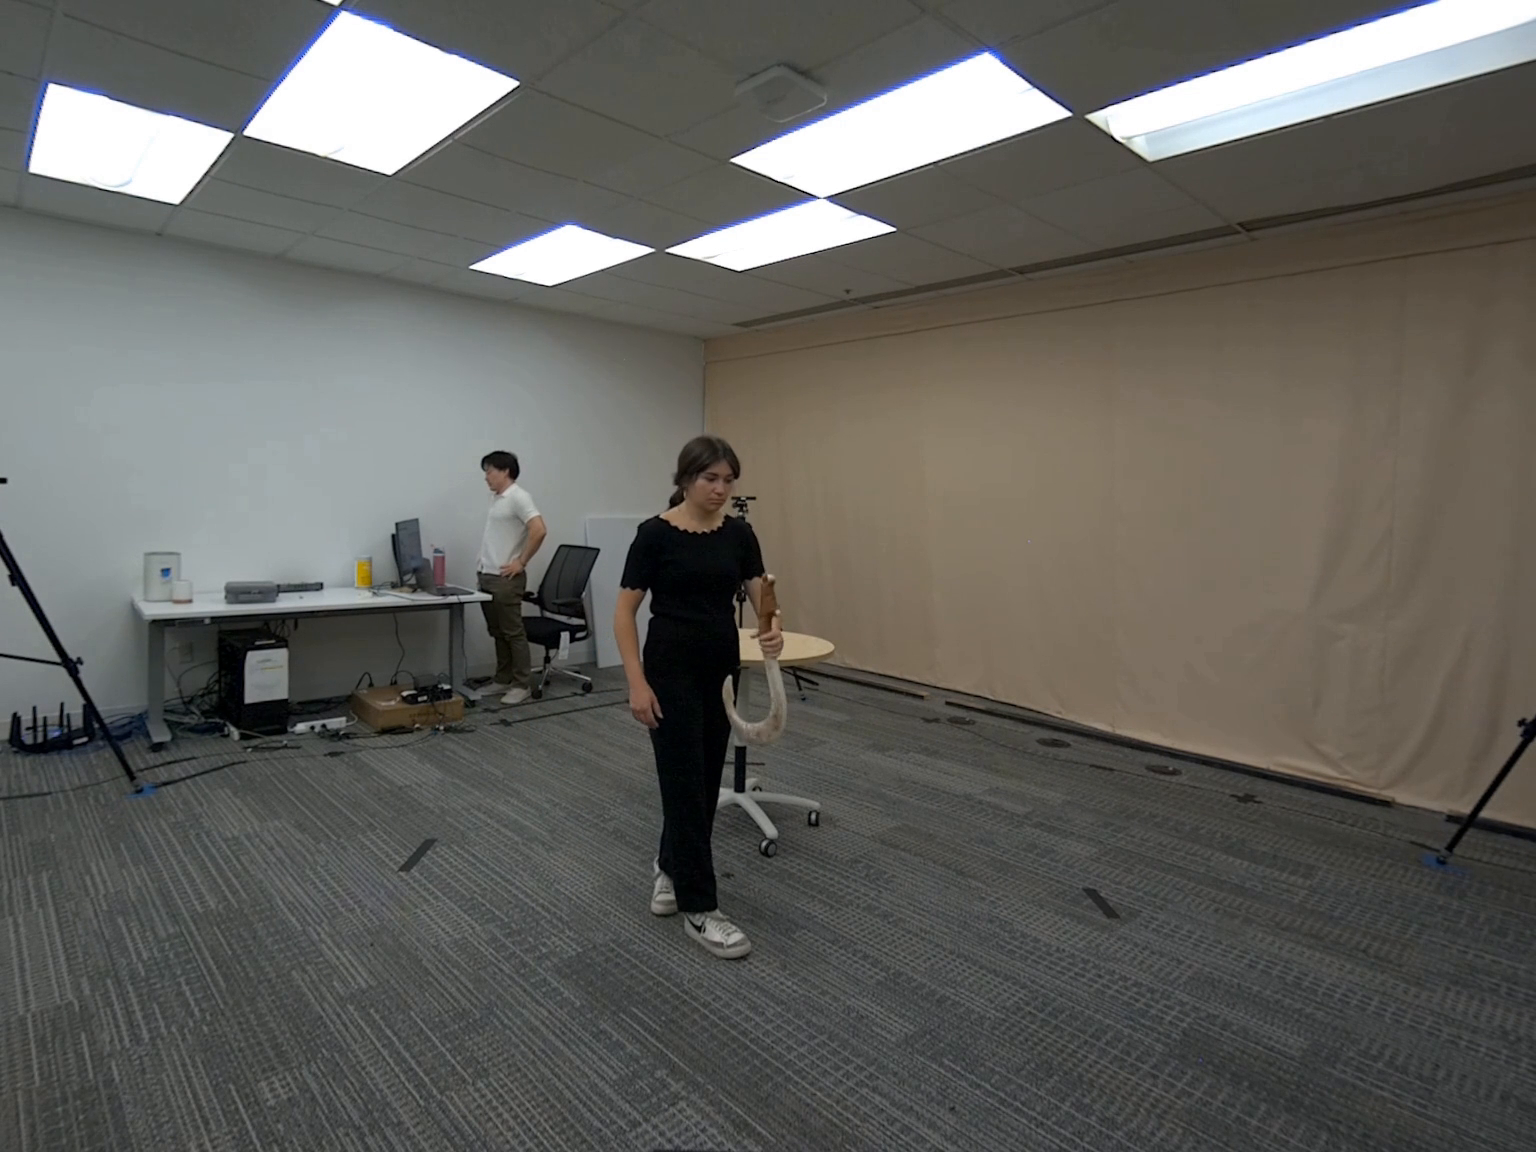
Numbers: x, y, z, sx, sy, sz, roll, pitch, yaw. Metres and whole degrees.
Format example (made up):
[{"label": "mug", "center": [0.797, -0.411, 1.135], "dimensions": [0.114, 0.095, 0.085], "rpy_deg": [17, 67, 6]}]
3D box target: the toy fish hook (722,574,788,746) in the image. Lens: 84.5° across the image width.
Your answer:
[{"label": "toy fish hook", "center": [-0.054, 0.239, 2.470], "dimensions": [0.229, 0.505, 0.047], "rpy_deg": [1, 3, 33]}]
